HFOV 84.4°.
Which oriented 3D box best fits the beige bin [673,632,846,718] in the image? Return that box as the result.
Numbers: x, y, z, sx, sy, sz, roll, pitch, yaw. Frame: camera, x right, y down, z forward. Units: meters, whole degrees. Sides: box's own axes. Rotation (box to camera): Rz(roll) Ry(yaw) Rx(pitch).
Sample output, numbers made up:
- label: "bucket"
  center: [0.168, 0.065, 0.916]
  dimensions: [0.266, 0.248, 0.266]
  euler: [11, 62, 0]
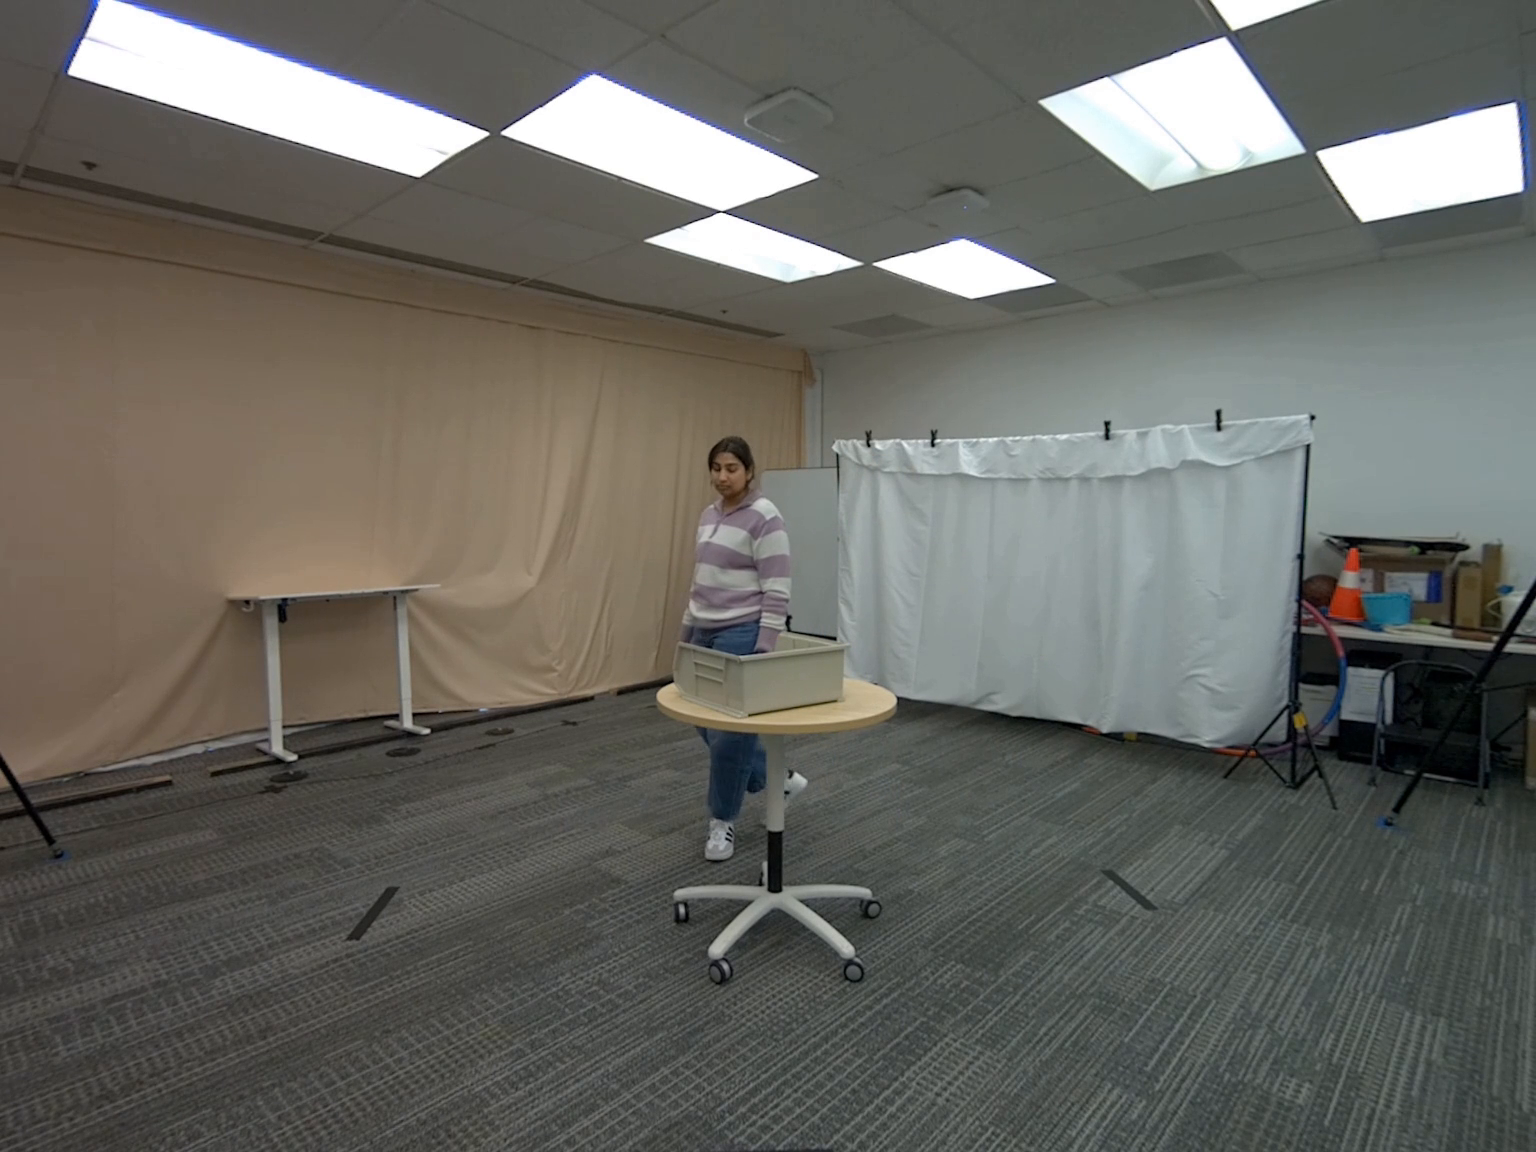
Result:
- label: "beige bin"
  center: [-0.025, 0.297, 2.647]
  dimensions: [0.410, 0.188, 0.390]
  euler: [-2, 6, -36]
